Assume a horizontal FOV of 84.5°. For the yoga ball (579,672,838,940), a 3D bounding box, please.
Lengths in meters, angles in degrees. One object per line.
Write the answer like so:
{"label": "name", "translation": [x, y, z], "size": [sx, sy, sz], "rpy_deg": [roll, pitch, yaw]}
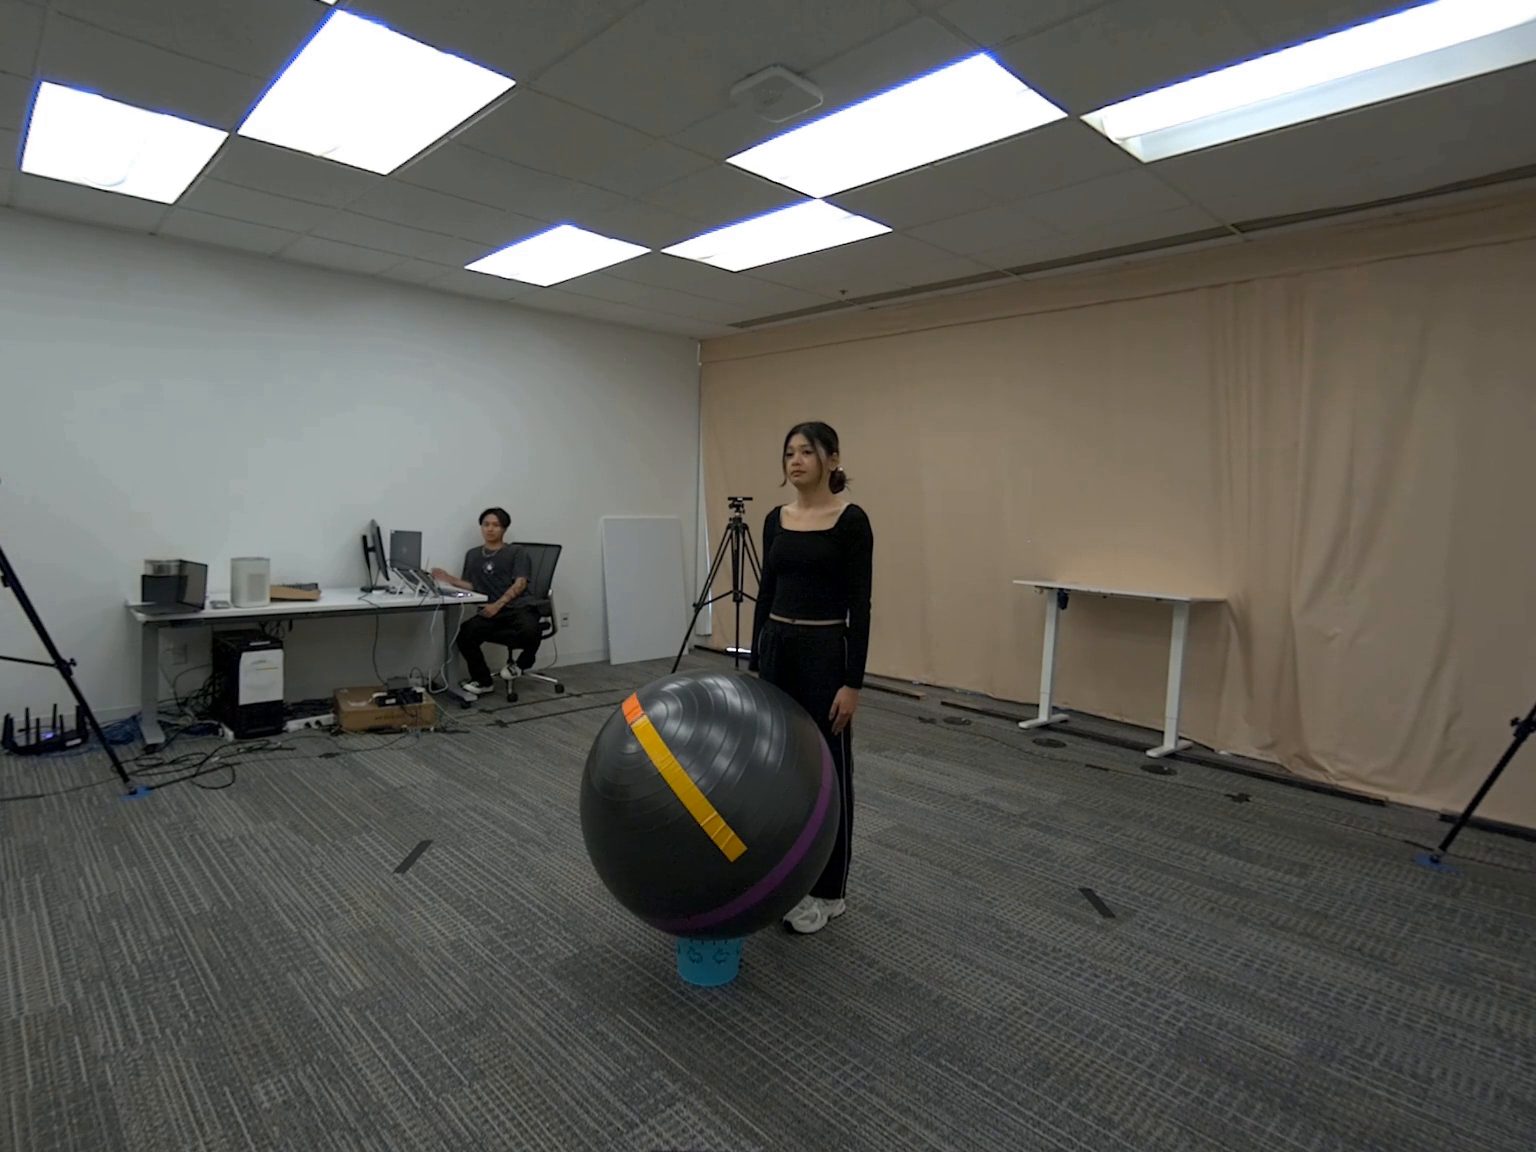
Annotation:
{"label": "yoga ball", "translation": [-0.174, 0.658, 2.455], "size": [0.757, 0.756, 0.761], "rpy_deg": [1, 4, -1]}
